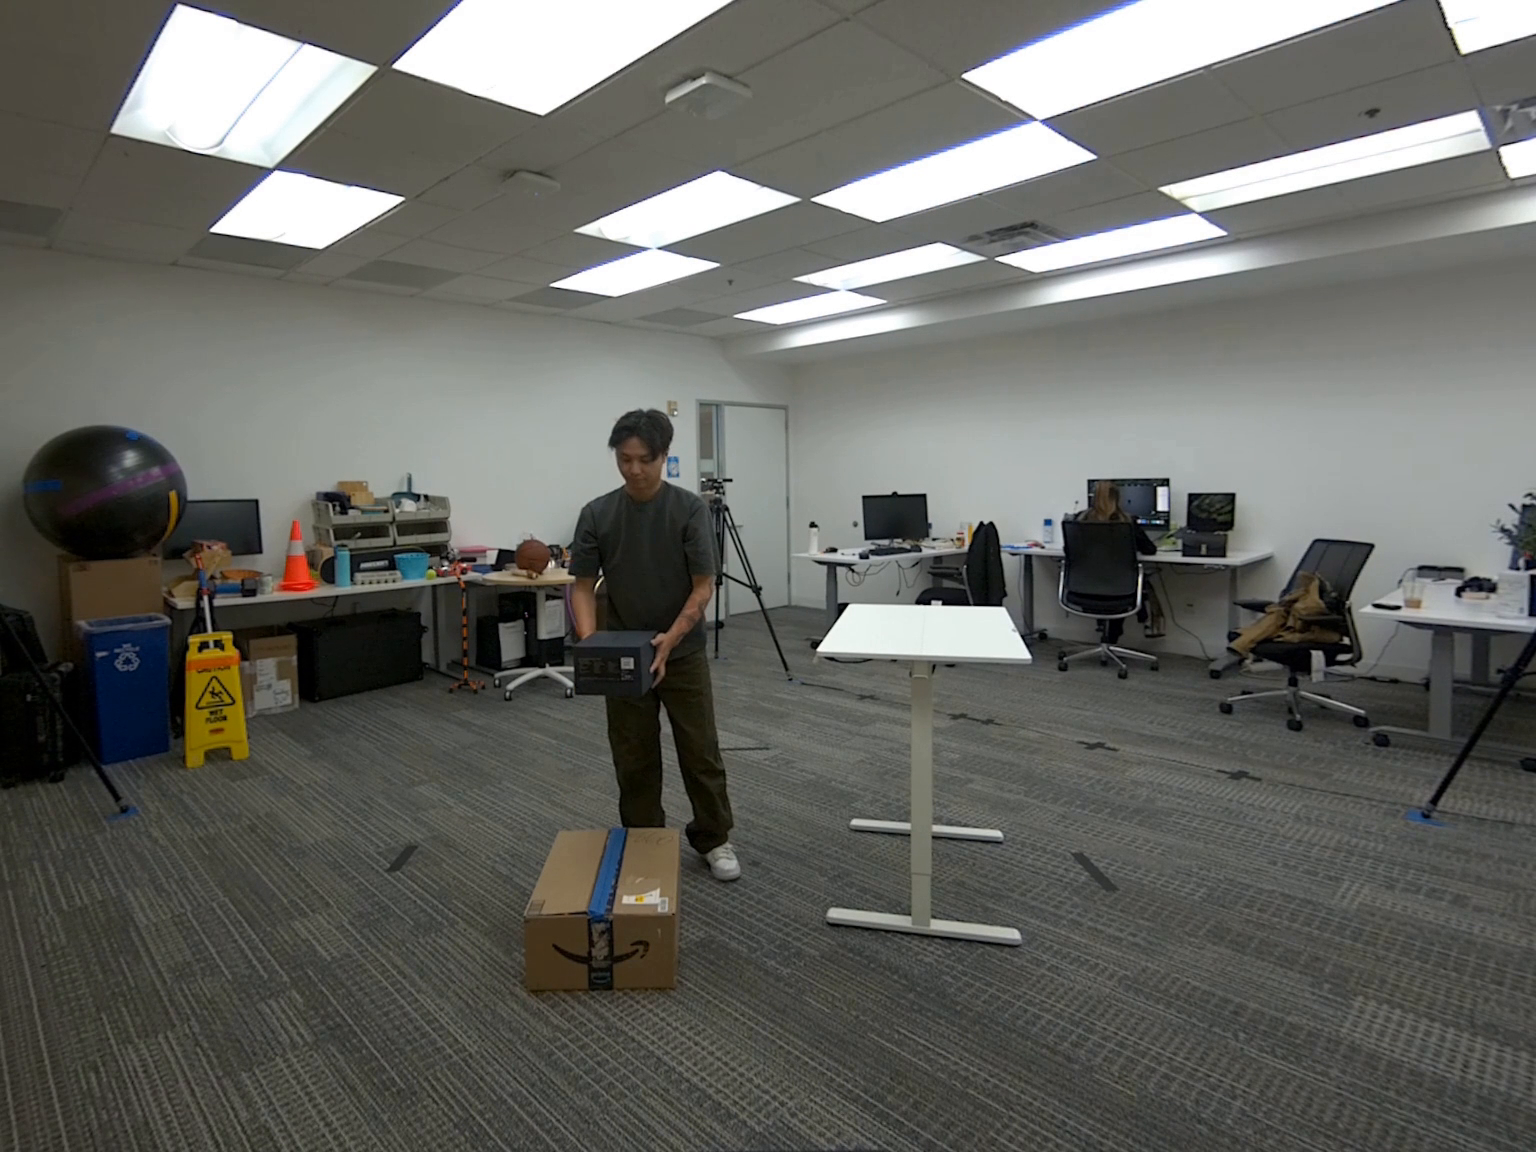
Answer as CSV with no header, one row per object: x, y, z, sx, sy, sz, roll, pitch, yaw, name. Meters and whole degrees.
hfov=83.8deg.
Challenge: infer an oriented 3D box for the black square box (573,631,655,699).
-0.481,0.273,2.710,0.219,0.155,0.227,-1,6,10,black square box
